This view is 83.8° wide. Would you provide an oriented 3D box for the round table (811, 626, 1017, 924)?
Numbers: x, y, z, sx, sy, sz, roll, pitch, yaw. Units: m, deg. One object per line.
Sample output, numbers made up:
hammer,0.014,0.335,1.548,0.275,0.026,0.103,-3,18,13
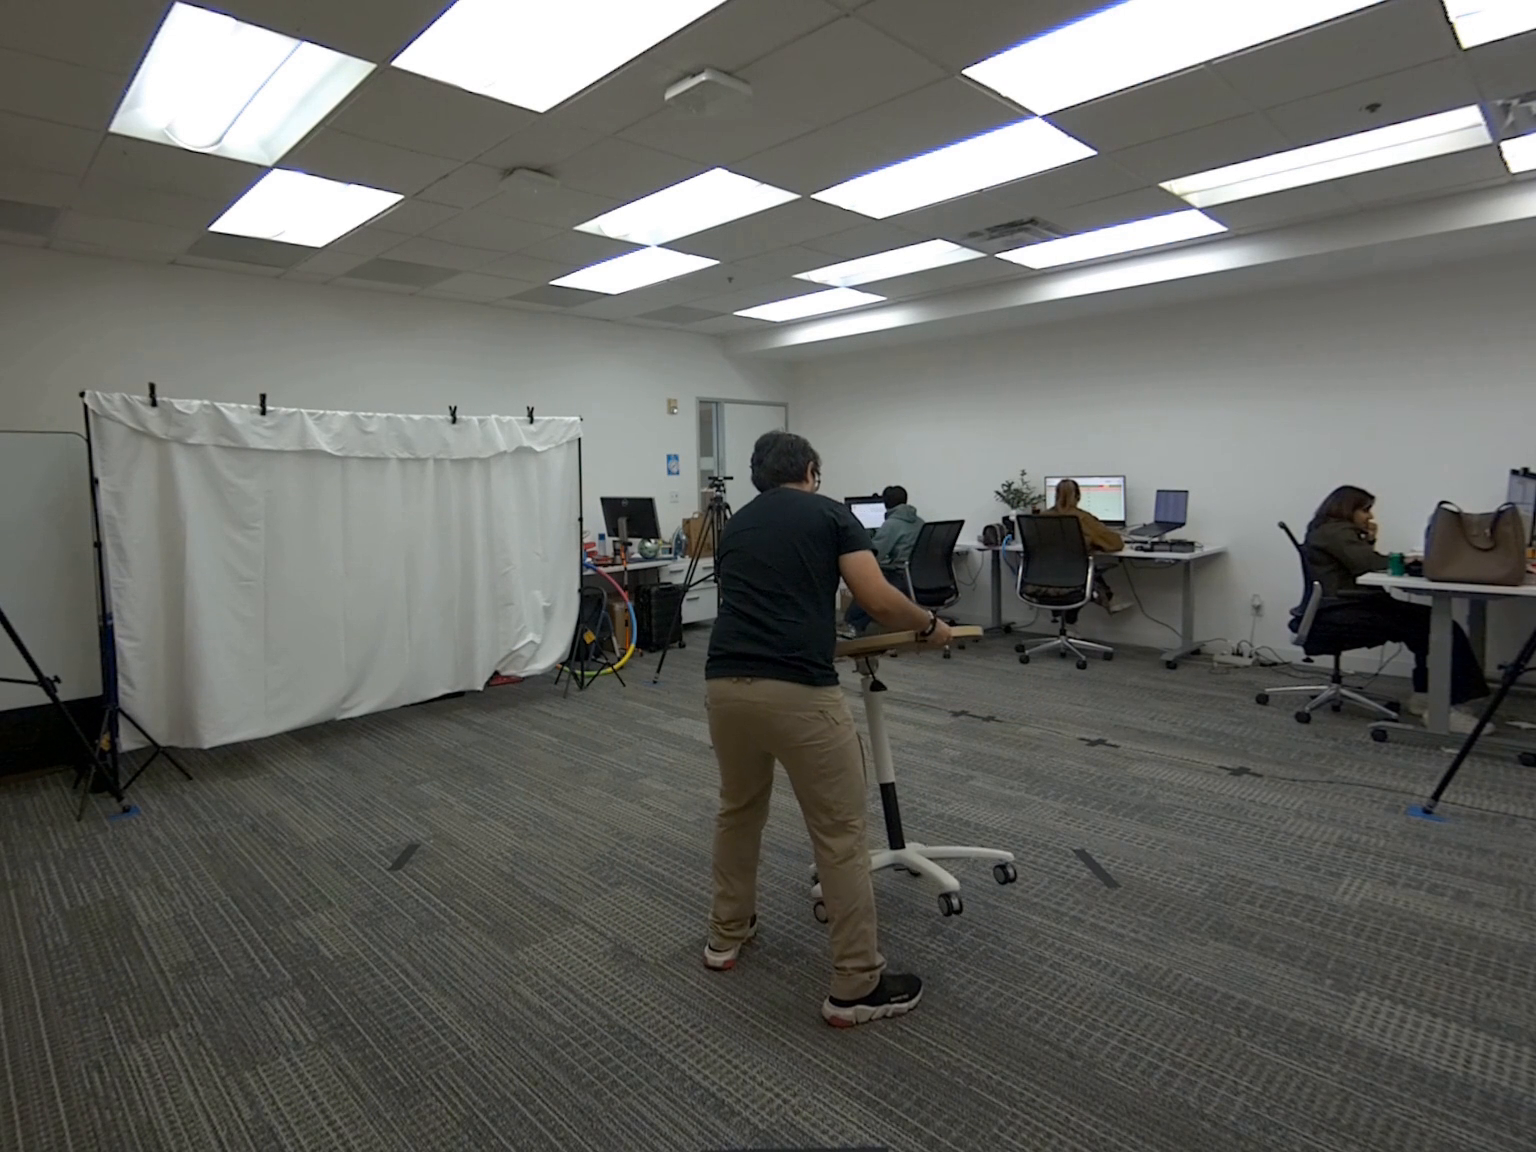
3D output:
round table,0.393,0.617,2.755,0.784,0.795,0.778,-7,-9,-3
